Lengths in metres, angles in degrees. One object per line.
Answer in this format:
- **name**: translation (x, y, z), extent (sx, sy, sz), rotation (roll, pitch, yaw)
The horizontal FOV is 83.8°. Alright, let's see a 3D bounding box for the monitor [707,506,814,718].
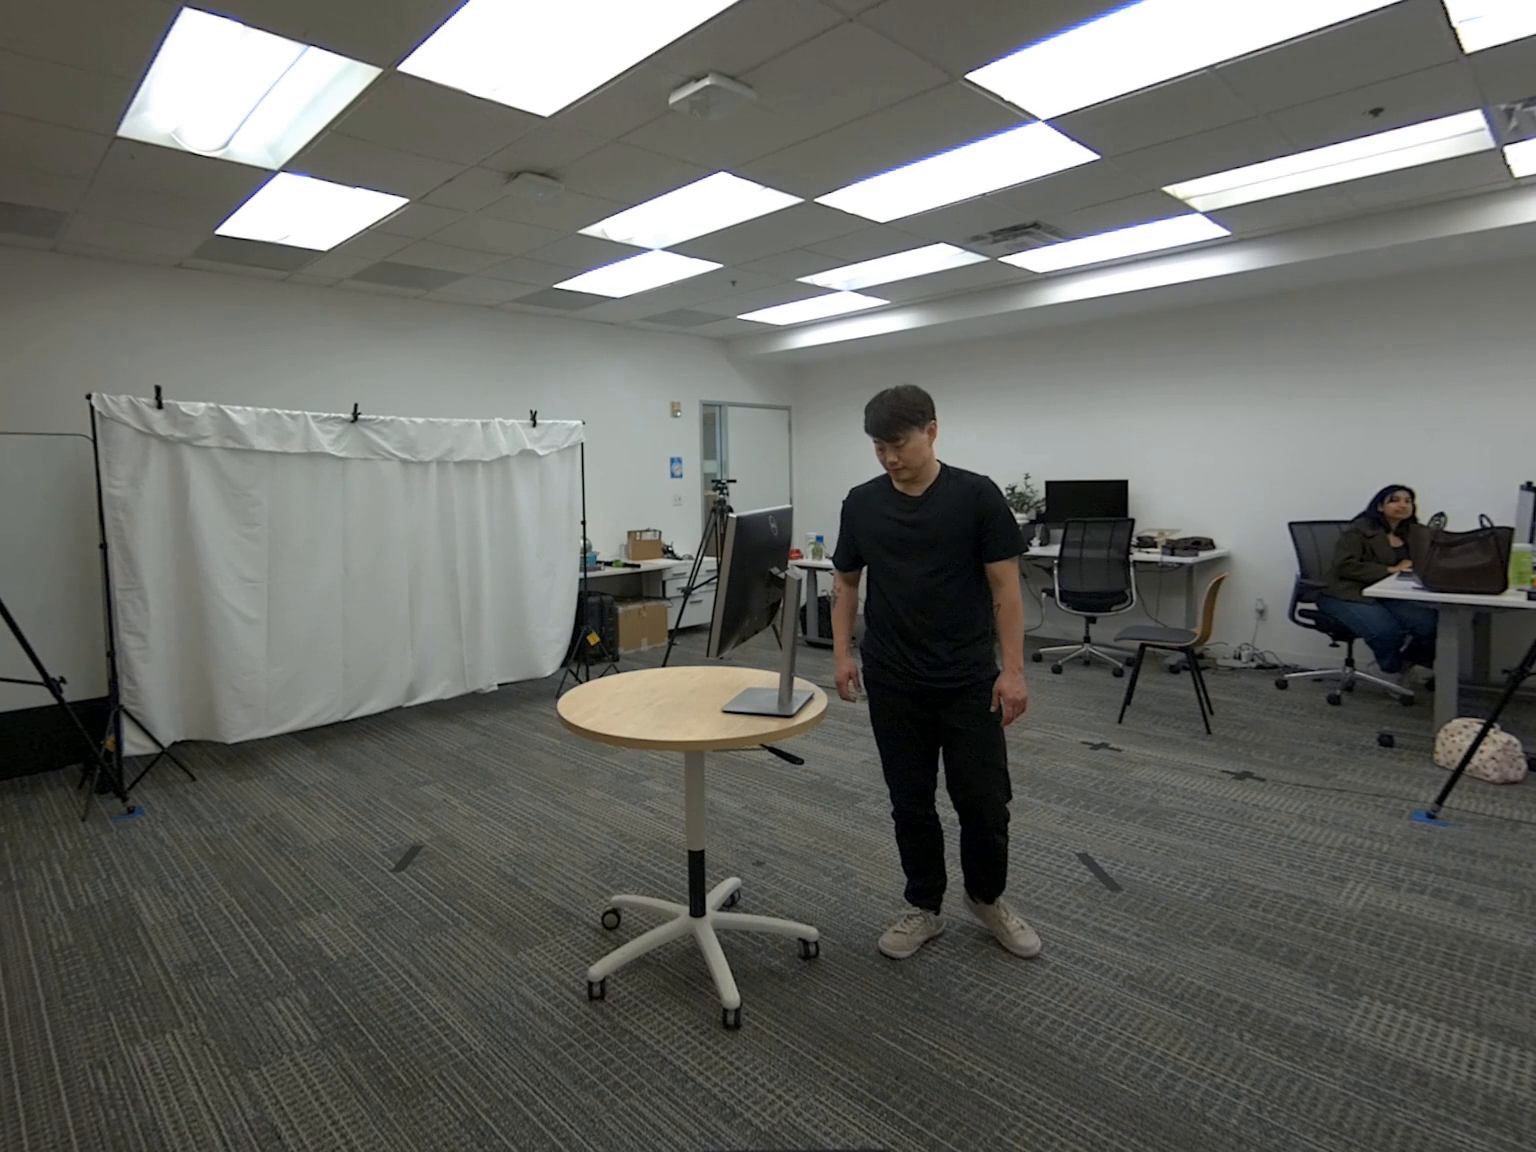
- **monitor**: translation (0.007, 0.089, 2.347), extent (0.190, 0.520, 0.533), rotation (0, 6, 15)
